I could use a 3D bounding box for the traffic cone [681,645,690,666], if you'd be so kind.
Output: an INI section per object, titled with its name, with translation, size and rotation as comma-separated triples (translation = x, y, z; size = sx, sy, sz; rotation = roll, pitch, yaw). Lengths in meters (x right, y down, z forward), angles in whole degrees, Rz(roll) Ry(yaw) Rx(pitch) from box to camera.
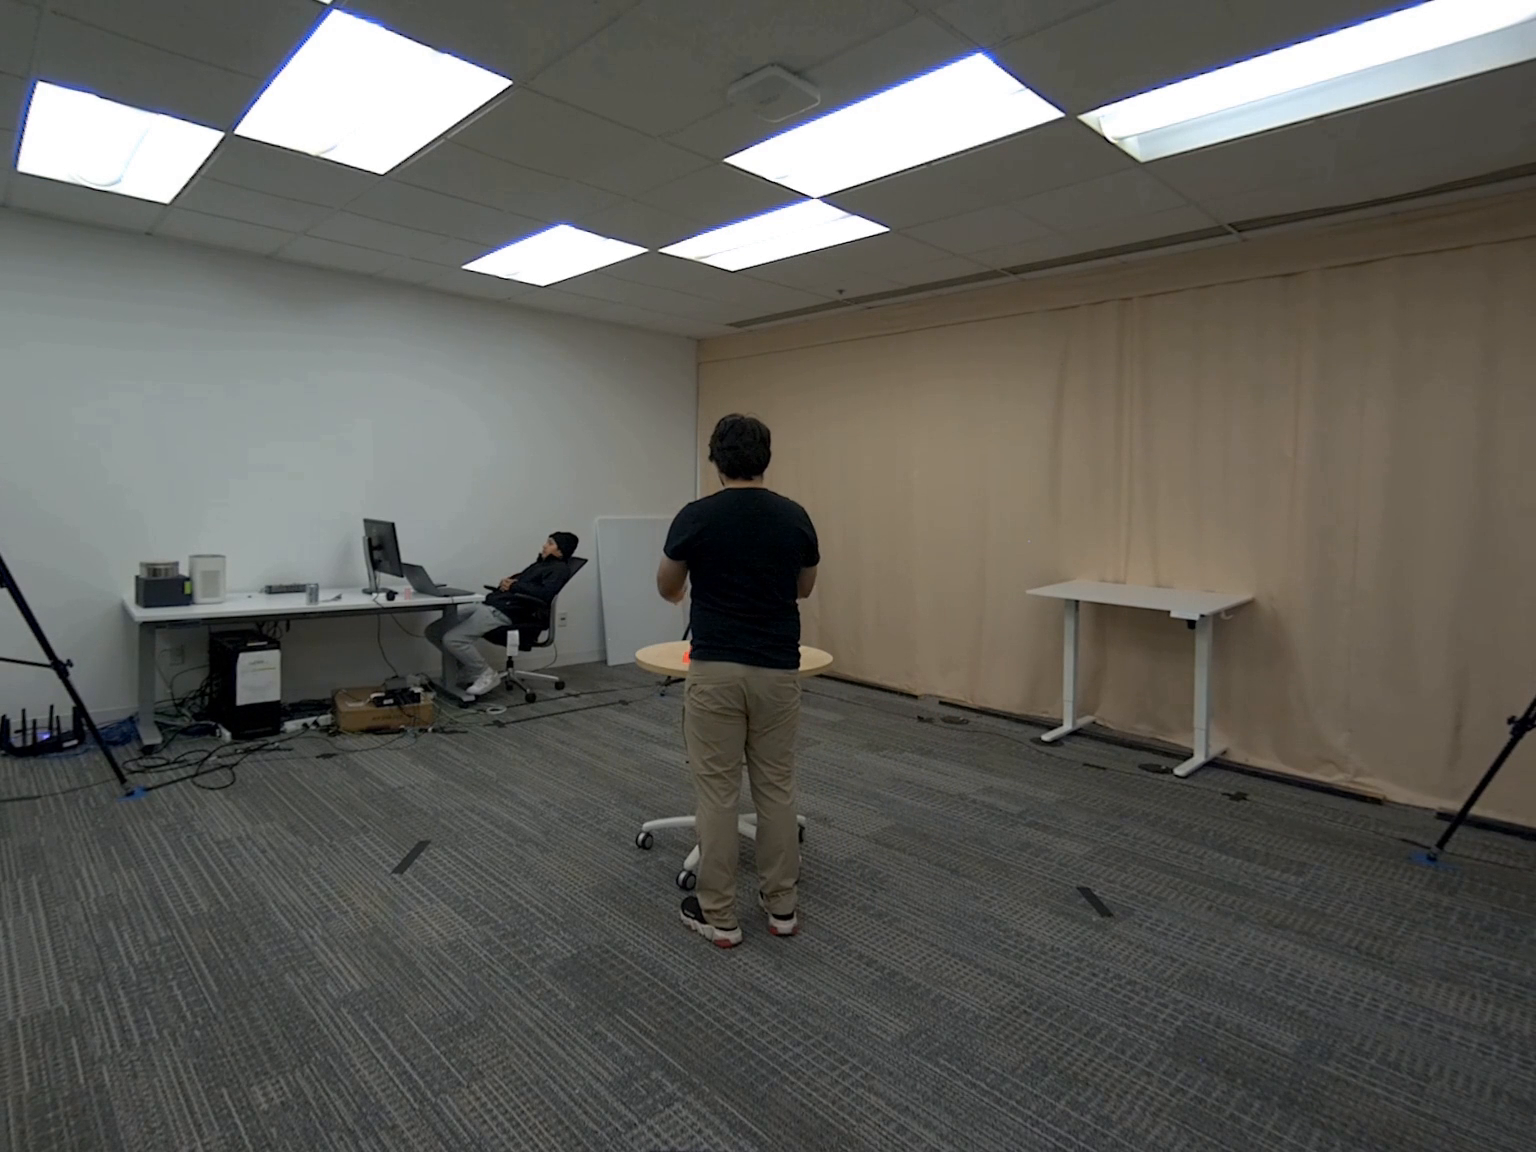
[traffic cone]
translation = -0.224, 0.127, 3.186
size = 0.202, 0.383, 0.206
rotation = 2, 1, -6
